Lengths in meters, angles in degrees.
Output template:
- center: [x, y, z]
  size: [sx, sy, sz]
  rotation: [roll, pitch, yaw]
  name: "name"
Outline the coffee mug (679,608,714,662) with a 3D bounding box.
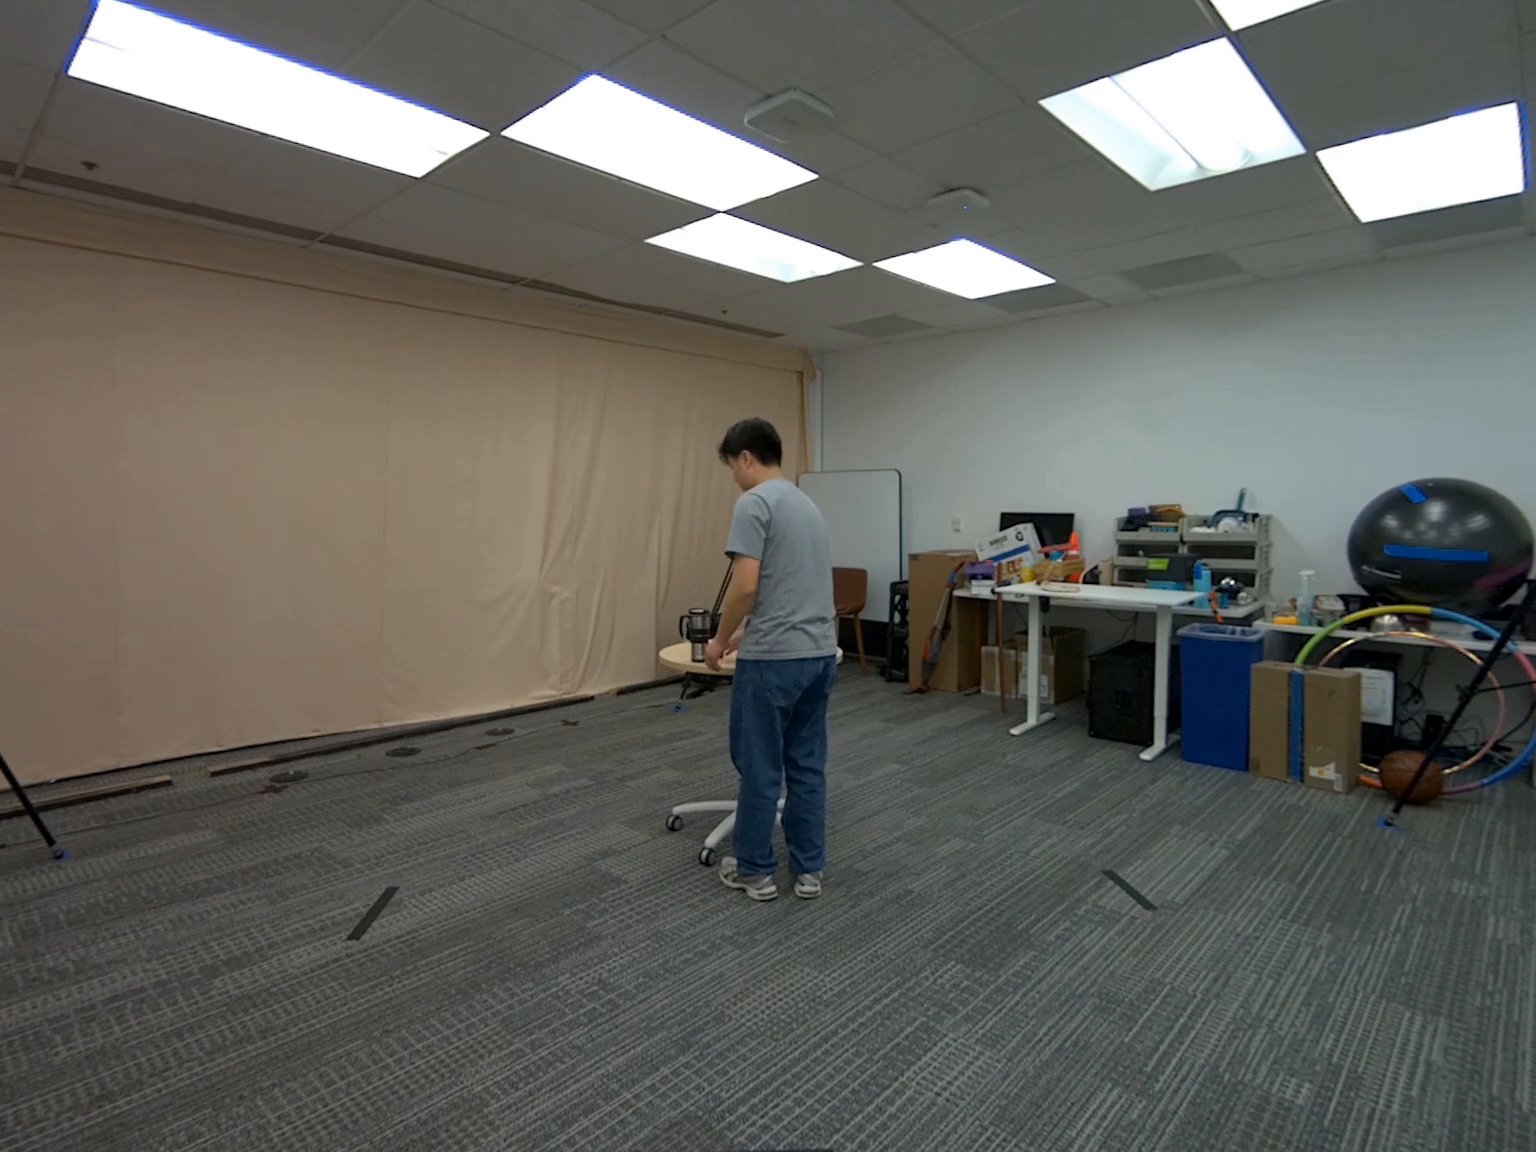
- center: [-0.288, 0.236, 3.329]
  size: [0.124, 0.202, 0.086]
  rotation: [1, 6, 19]
  name: "coffee mug"
